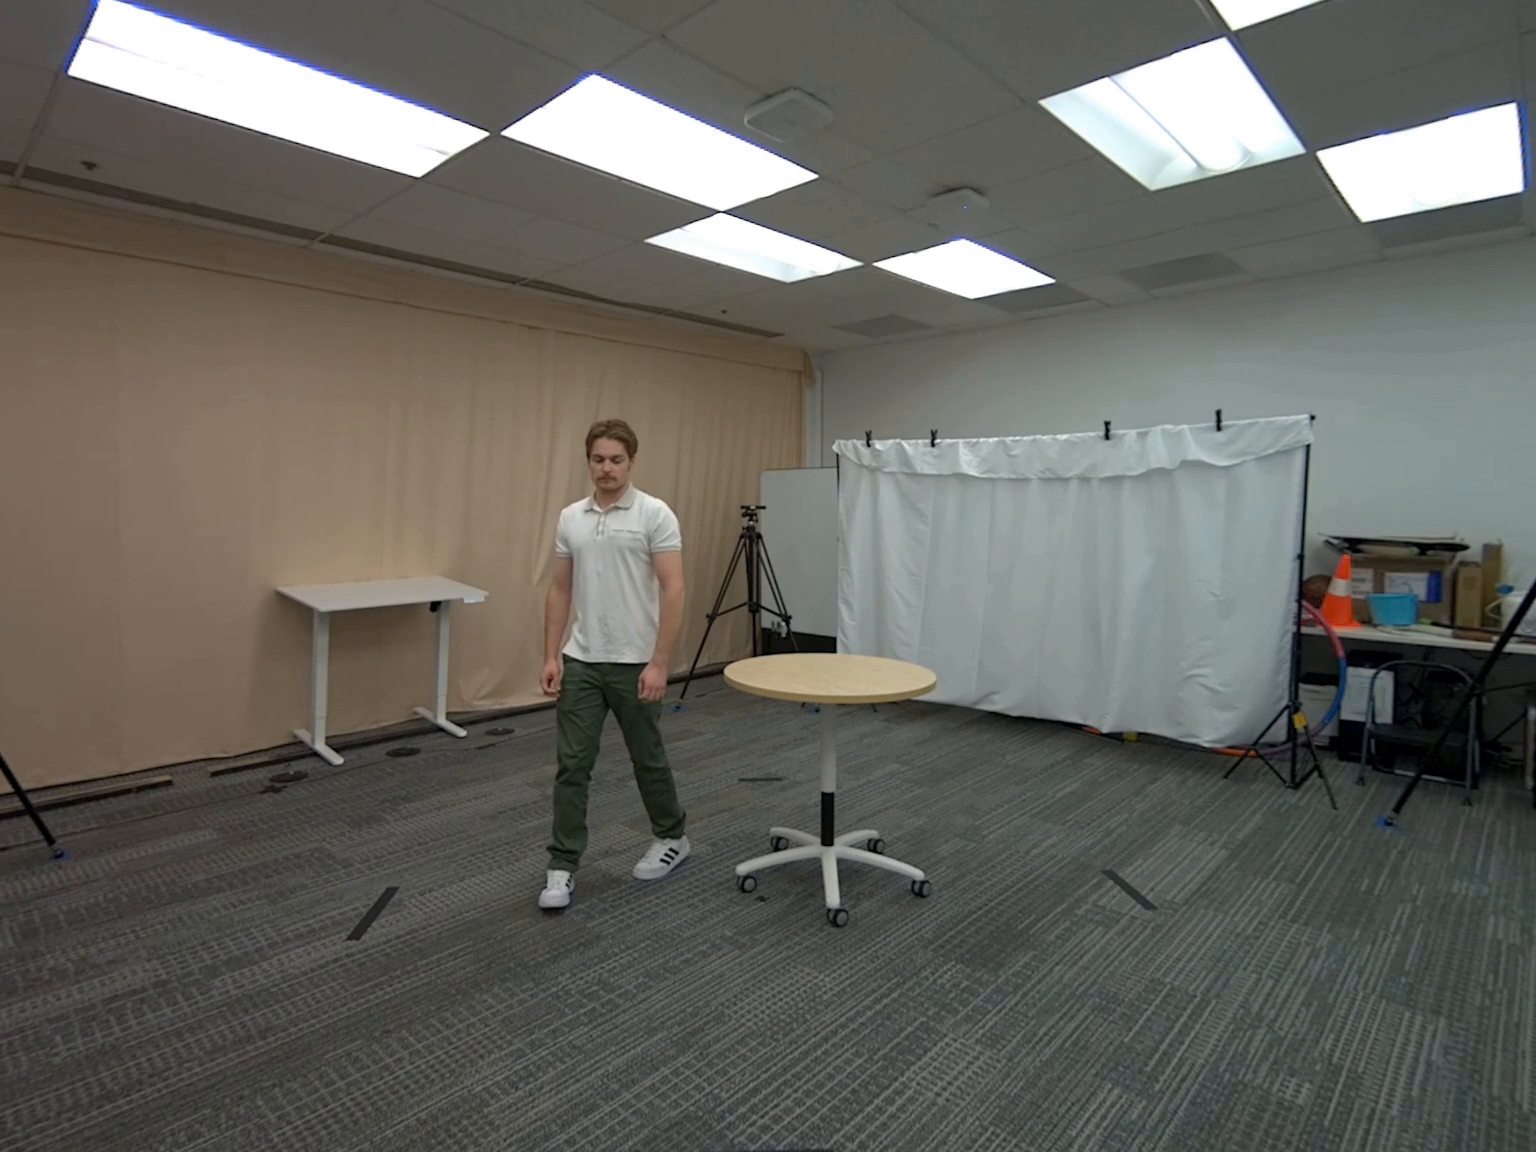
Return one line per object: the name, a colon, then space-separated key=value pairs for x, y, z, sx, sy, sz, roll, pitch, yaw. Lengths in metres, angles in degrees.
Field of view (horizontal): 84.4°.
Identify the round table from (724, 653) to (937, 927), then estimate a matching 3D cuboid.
round table: x=0.226 y=0.746 z=3.096 sx=0.763 sy=0.792 sz=0.766 roll=0 pitch=3 yaw=-2
